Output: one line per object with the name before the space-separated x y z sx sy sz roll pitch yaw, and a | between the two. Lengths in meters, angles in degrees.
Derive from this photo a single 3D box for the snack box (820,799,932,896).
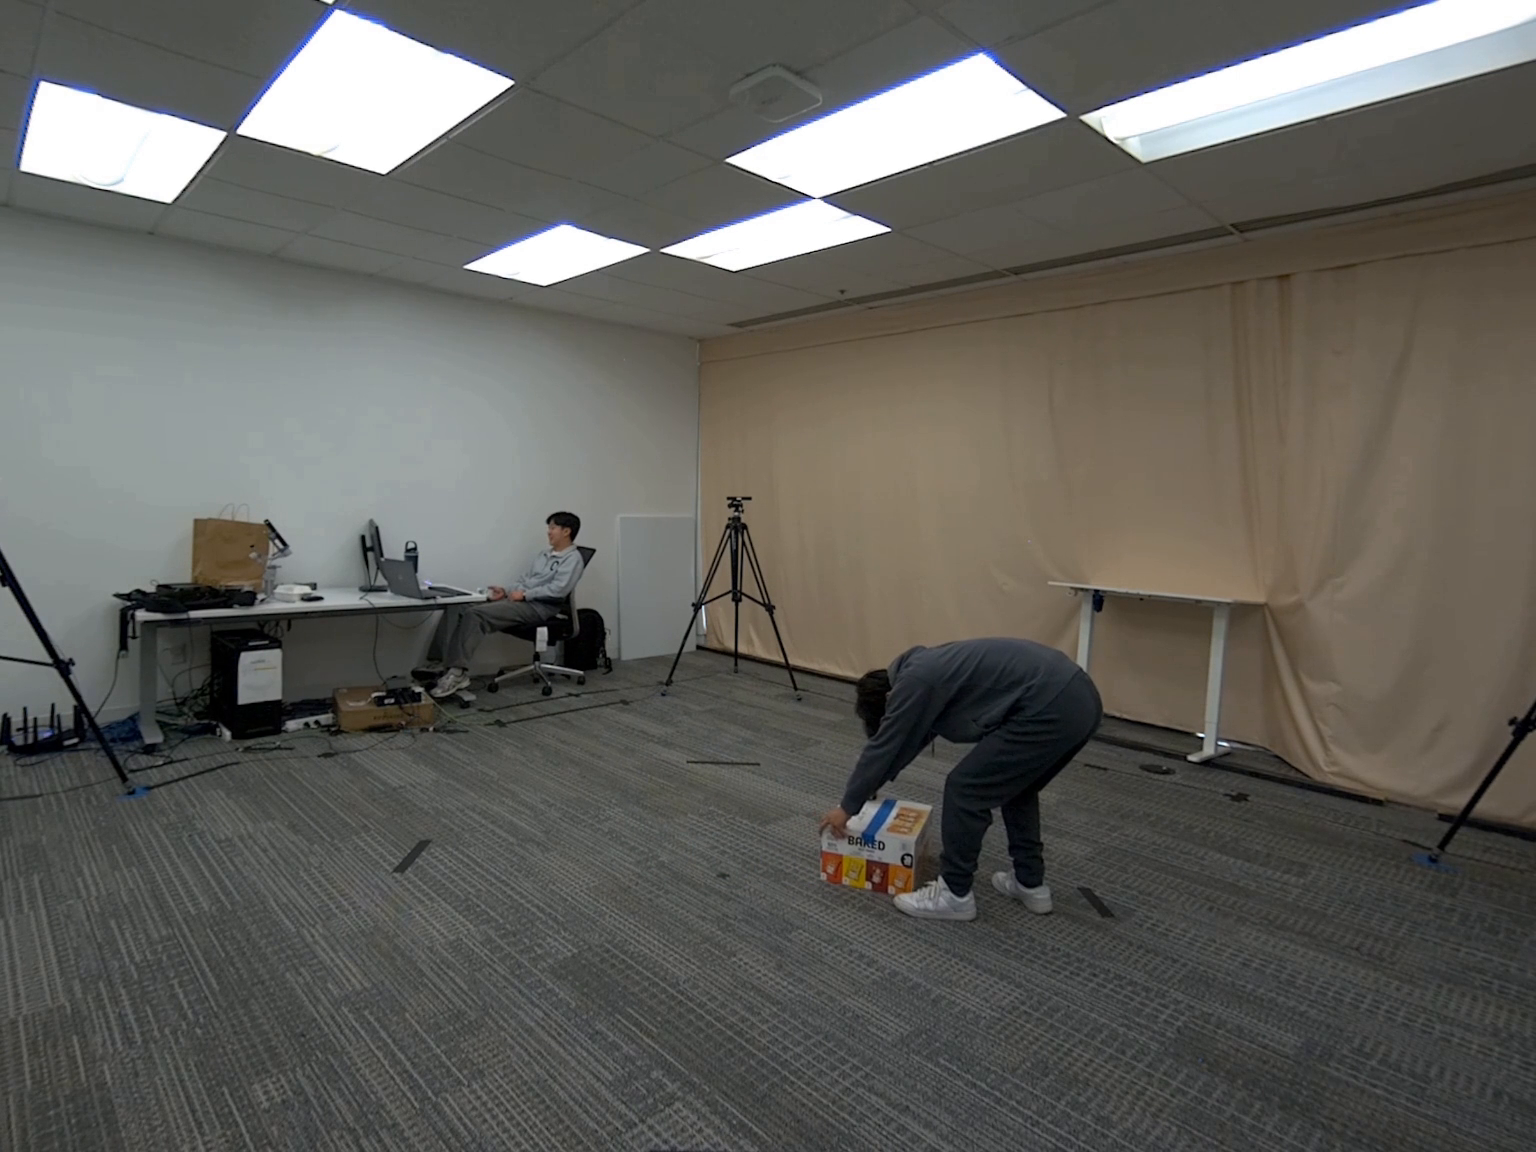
snack box | 0.412 1.012 3.204 0.346 0.205 0.399 4 5 21
